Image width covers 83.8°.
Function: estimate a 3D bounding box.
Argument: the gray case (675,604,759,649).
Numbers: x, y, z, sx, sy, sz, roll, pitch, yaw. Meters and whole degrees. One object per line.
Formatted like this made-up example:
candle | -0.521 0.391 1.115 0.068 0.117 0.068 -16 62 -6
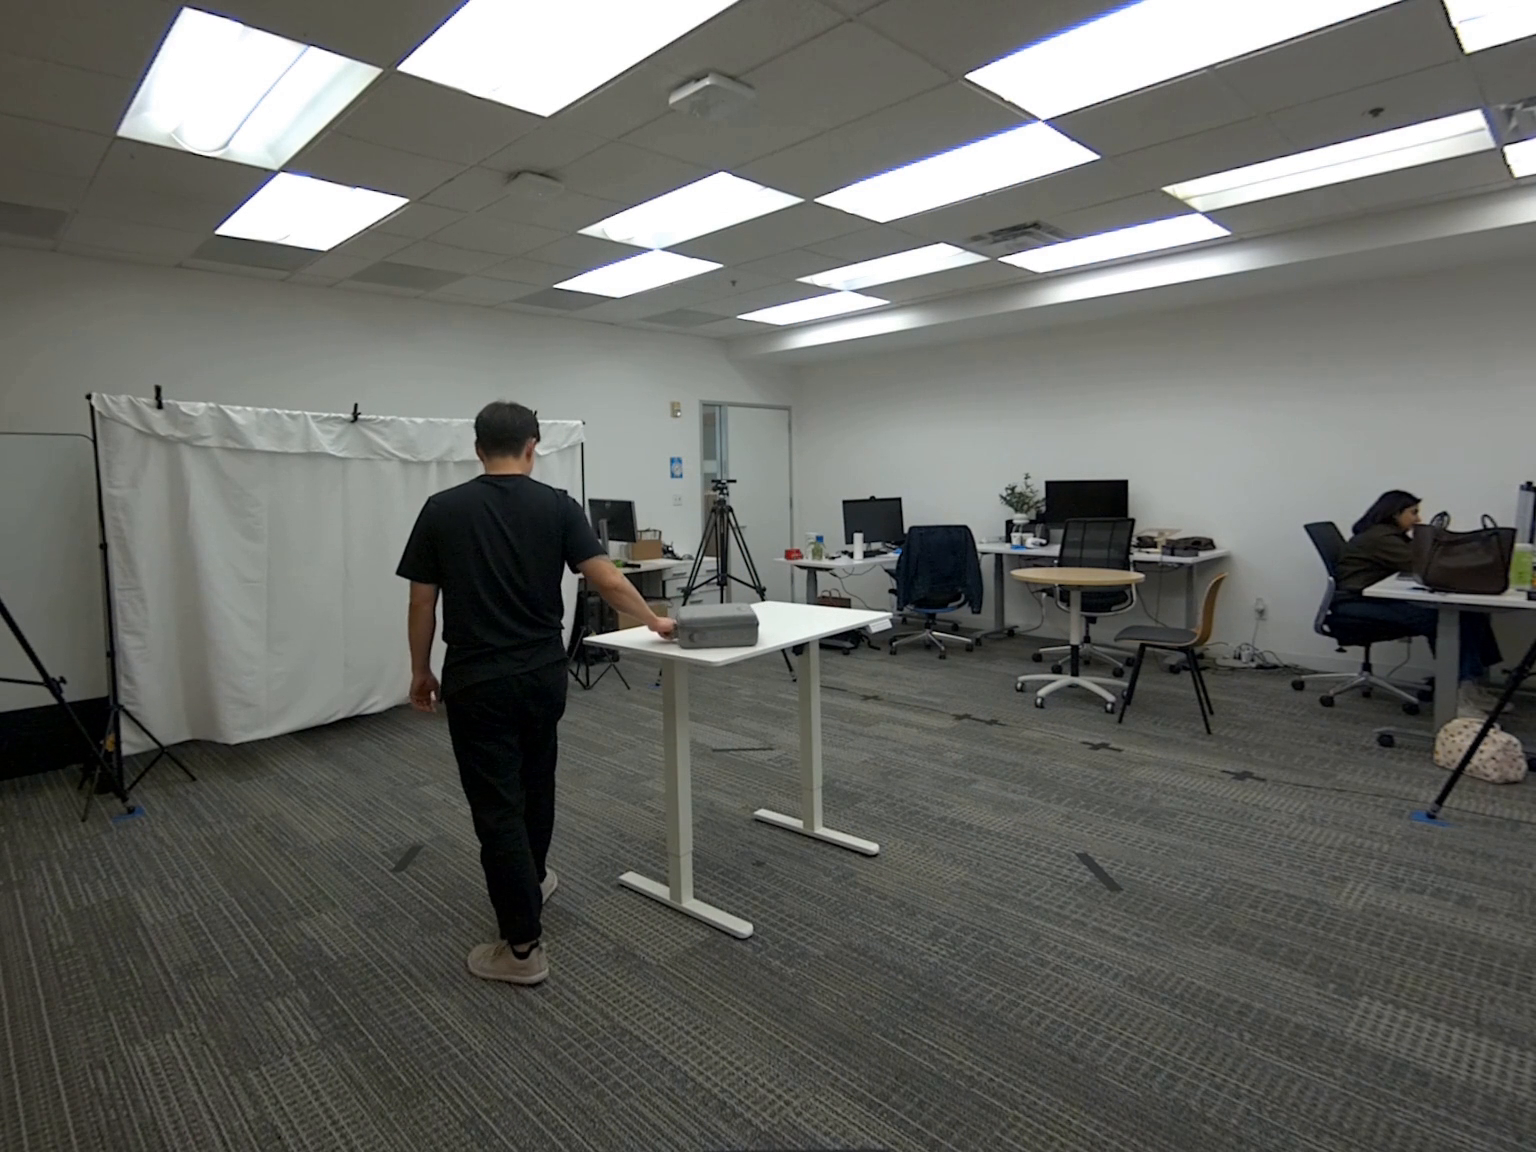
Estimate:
gray case | -0.161 0.156 2.748 0.259 0.104 0.260 -3 8 -6
